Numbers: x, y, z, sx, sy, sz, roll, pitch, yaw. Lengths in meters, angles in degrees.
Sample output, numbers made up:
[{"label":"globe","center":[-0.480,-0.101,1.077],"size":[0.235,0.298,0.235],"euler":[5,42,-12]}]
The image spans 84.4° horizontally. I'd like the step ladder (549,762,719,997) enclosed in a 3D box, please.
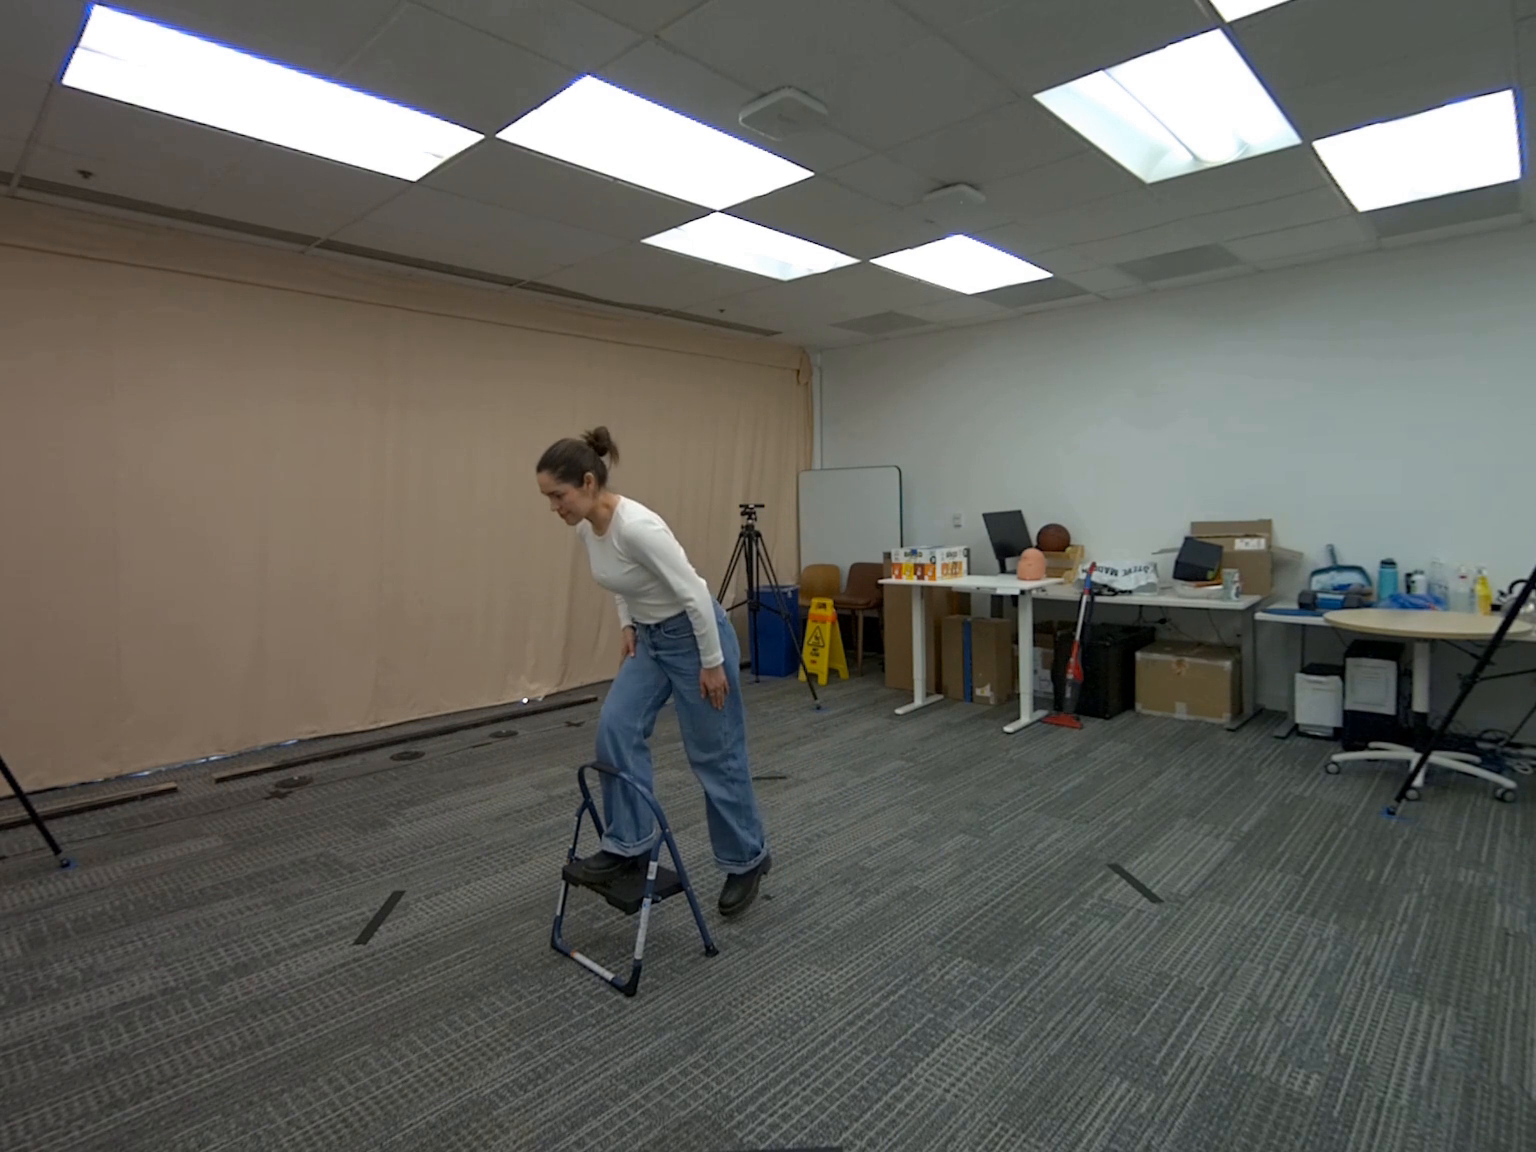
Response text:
[{"label":"step ladder","center":[-0.431,0.879,2.632],"size":[0.445,0.605,0.339],"euler":[2,4,43]}]
